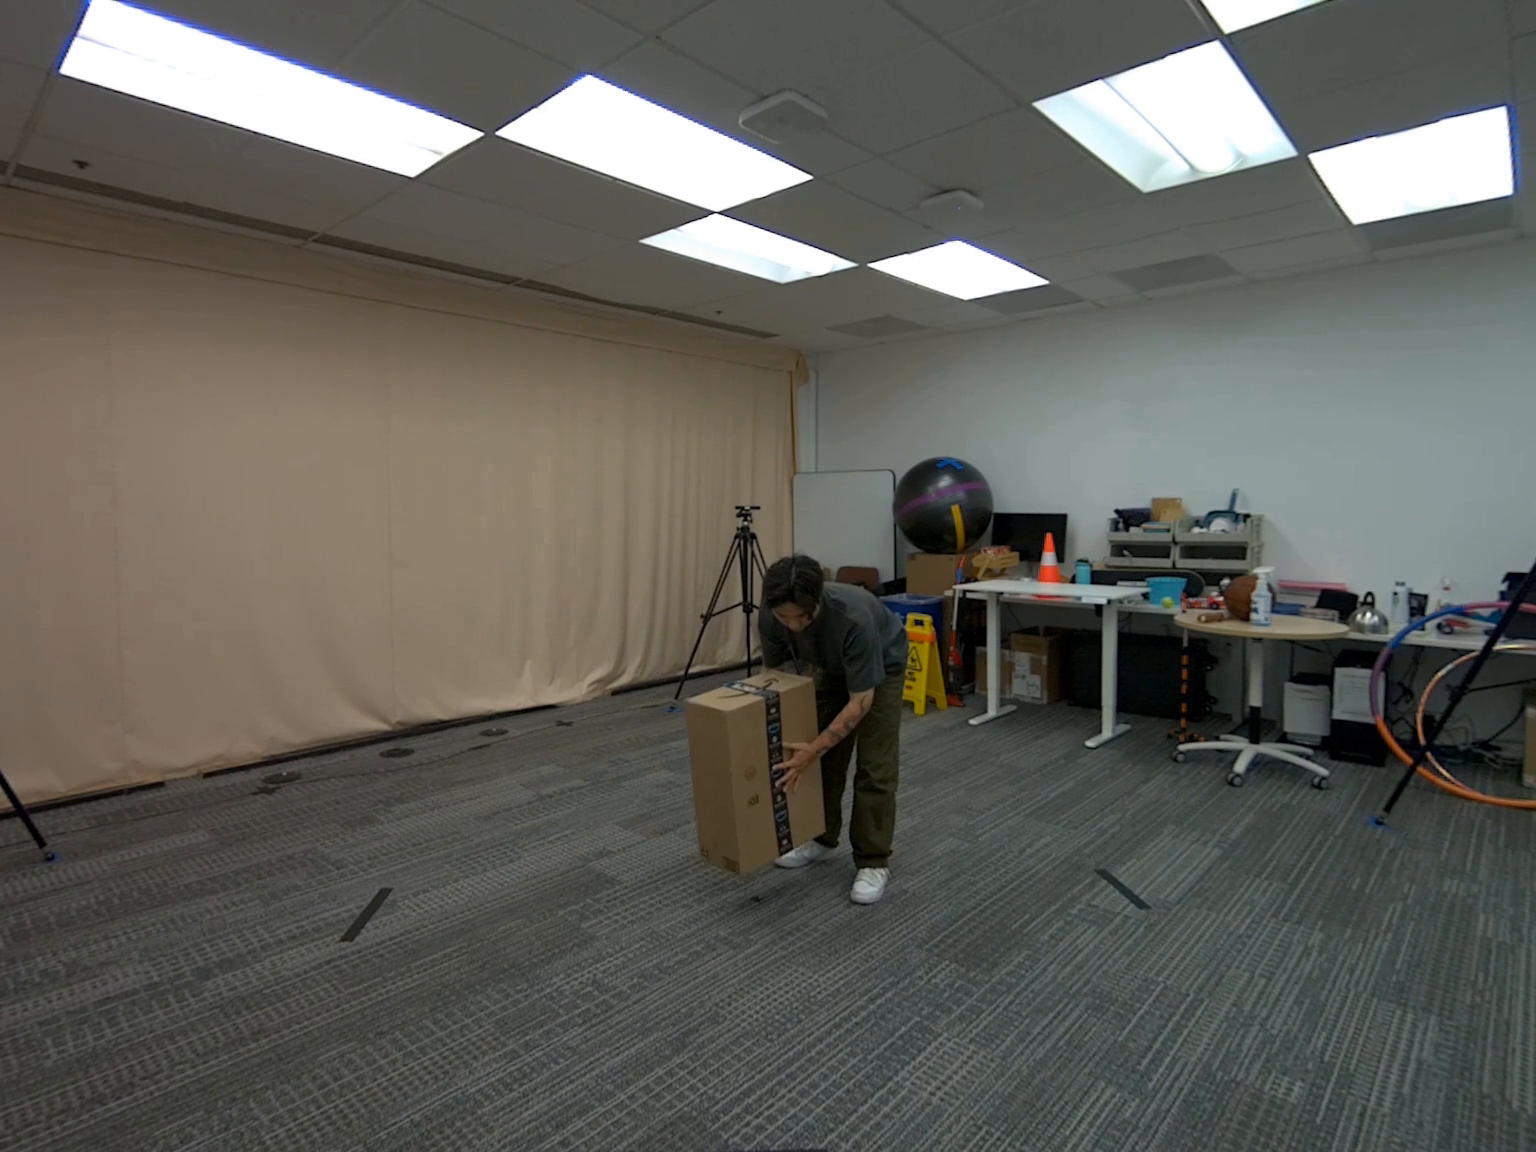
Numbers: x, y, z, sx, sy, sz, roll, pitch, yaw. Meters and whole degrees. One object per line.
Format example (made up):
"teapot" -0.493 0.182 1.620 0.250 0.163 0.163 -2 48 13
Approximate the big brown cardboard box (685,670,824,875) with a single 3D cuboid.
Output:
"big brown cardboard box" -0.038 0.667 2.922 0.406 0.586 0.241 -10 7 -41
